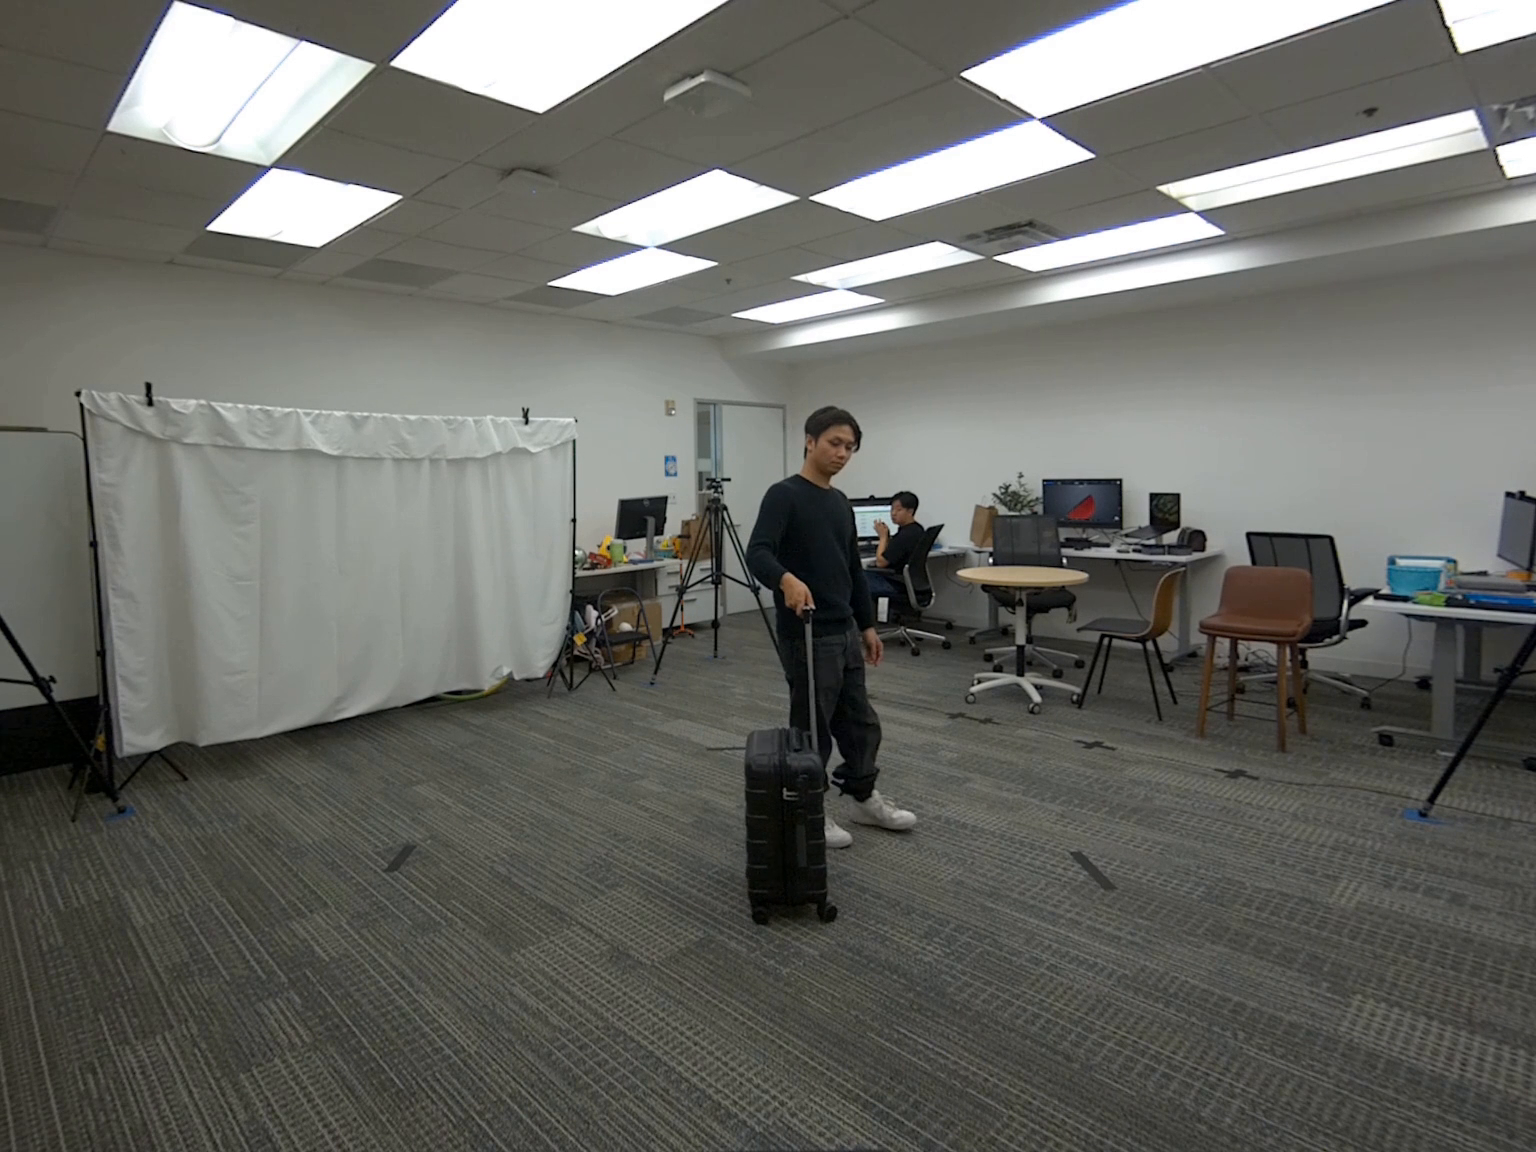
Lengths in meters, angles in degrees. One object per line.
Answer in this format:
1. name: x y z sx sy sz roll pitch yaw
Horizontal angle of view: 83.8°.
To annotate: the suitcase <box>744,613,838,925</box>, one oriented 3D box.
1. suitcase: 0.049 0.598 2.803 0.257 0.975 0.385 -3 4 0
